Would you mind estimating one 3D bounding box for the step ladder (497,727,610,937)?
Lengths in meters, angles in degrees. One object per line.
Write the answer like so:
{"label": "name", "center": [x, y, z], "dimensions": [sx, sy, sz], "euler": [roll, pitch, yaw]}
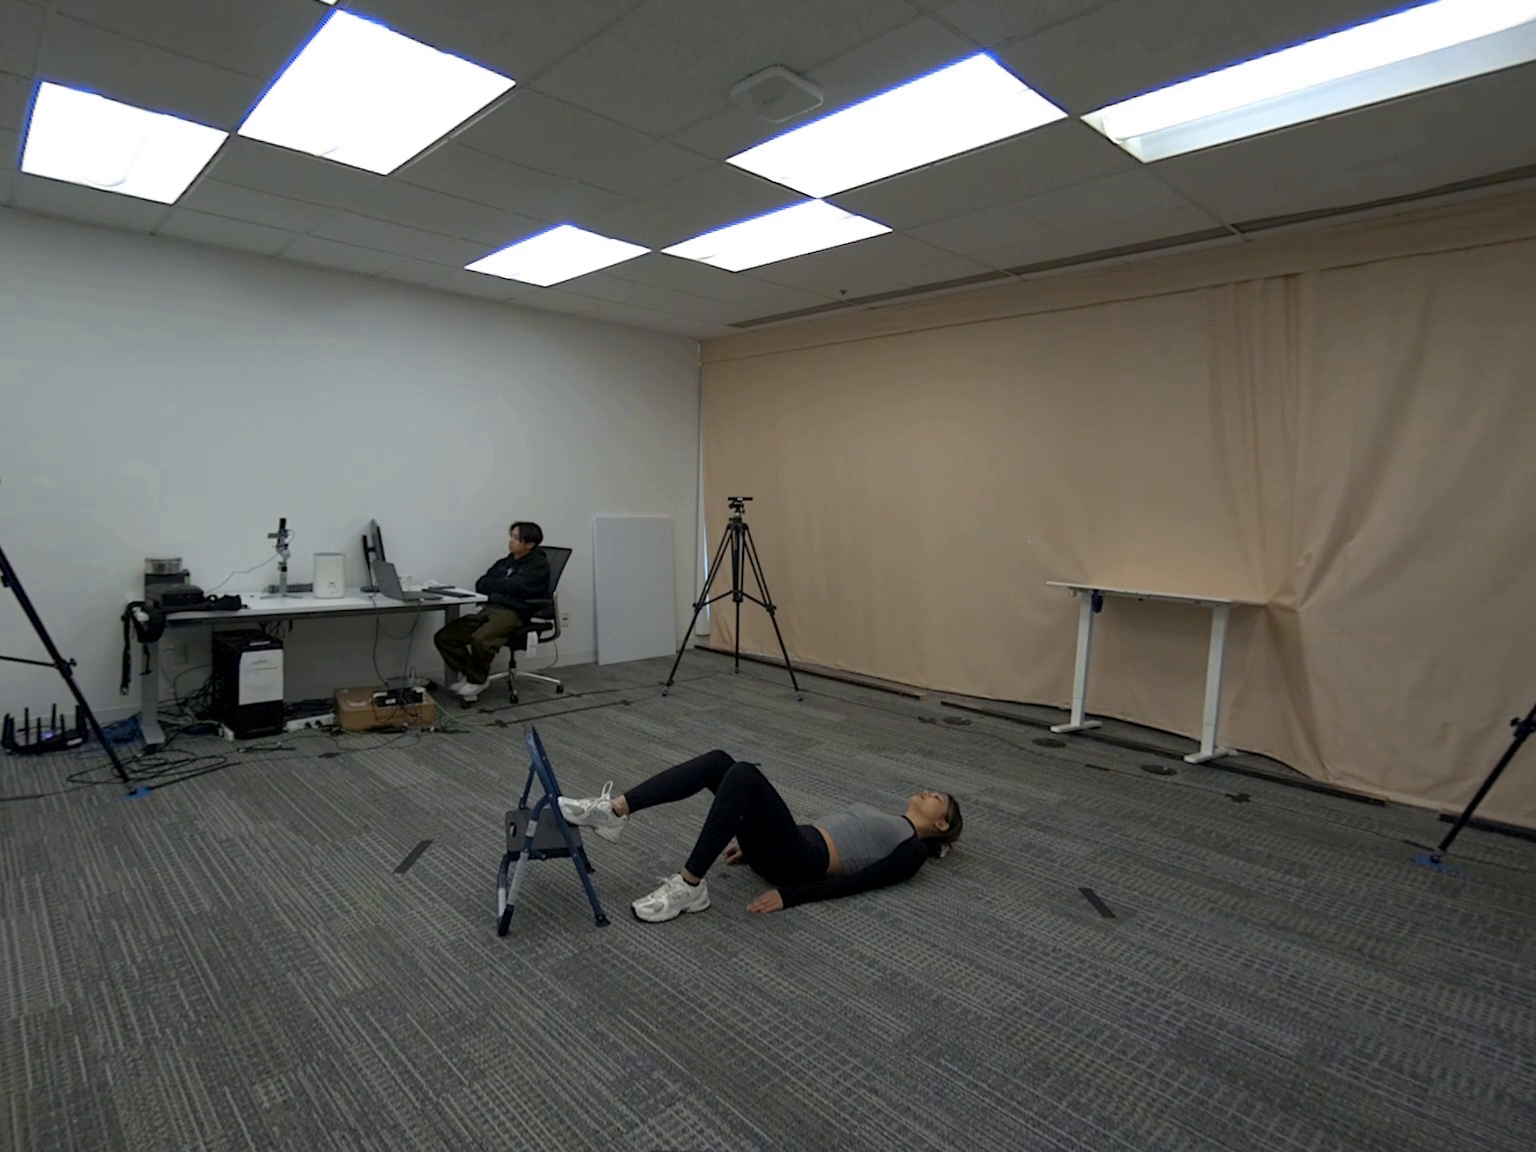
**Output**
{"label": "step ladder", "center": [-0.744, 0.817, 2.861], "dimensions": [0.344, 0.605, 0.438], "euler": [1, 4, -19]}
